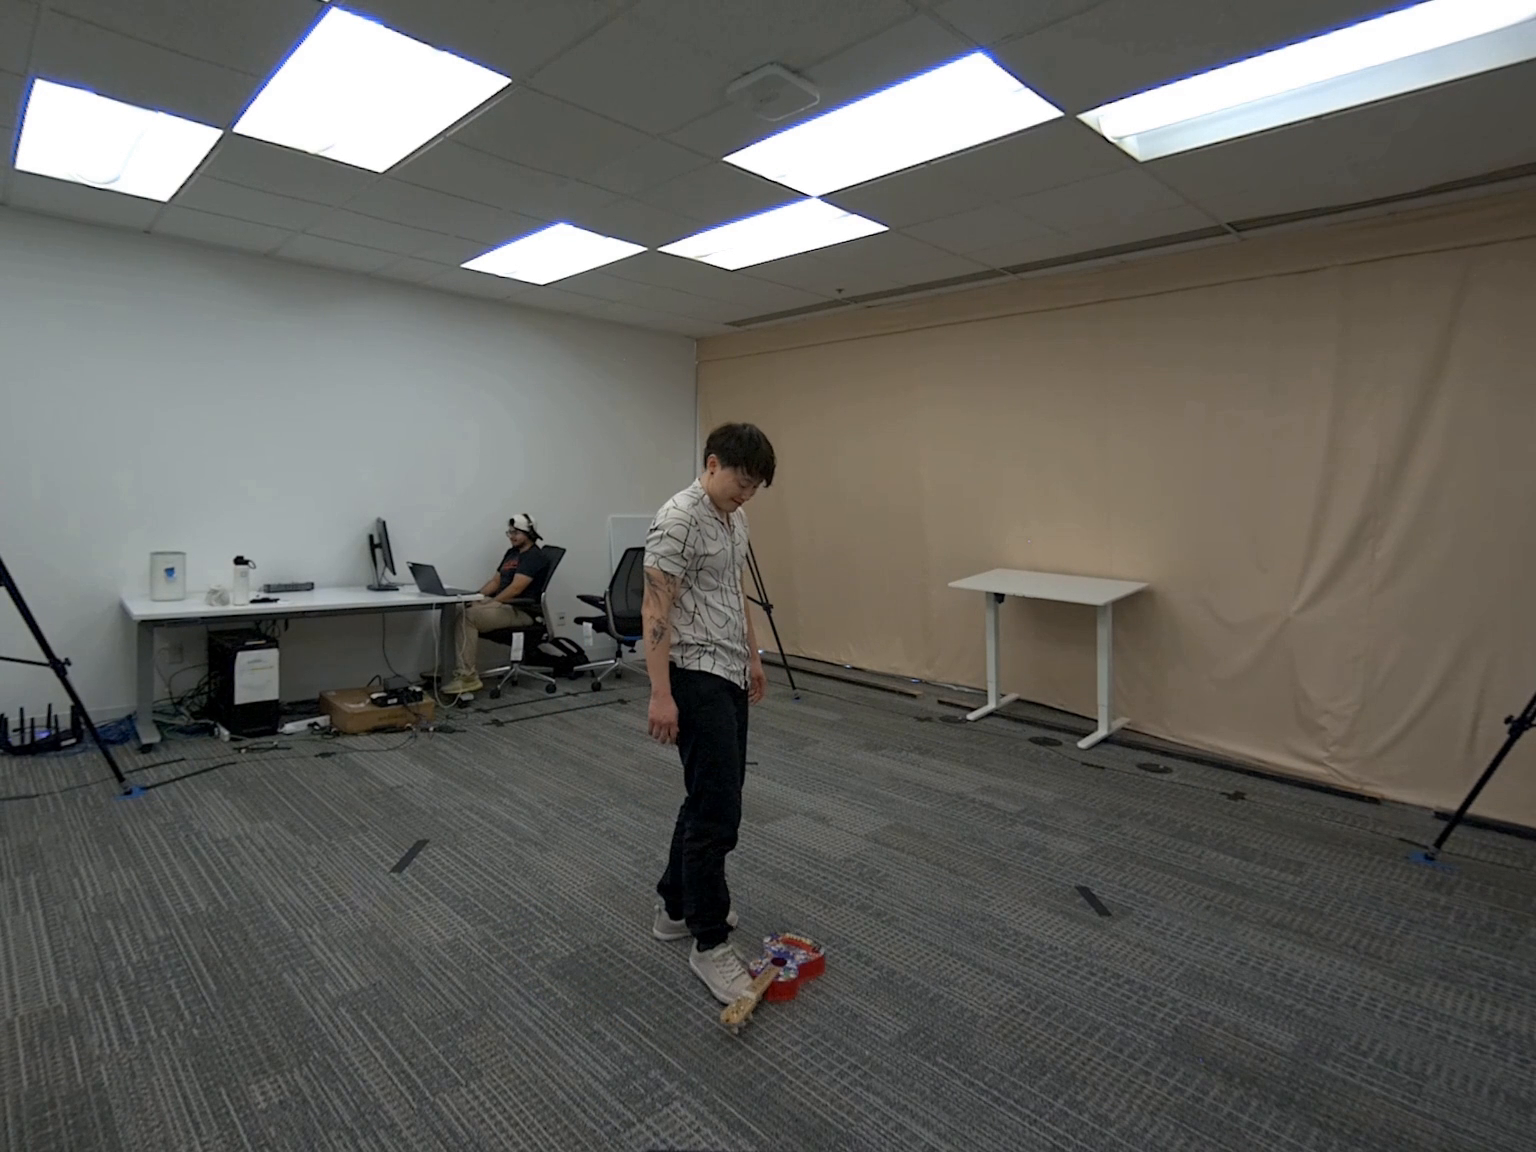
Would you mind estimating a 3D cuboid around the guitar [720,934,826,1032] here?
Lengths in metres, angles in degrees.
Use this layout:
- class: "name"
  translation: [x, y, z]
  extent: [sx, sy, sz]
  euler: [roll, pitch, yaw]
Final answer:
- class: "guitar"
  translation: [-0.034, 1.140, 2.367]
  extent: [0.197, 0.070, 0.487]
  euler: [6, 6, 33]
